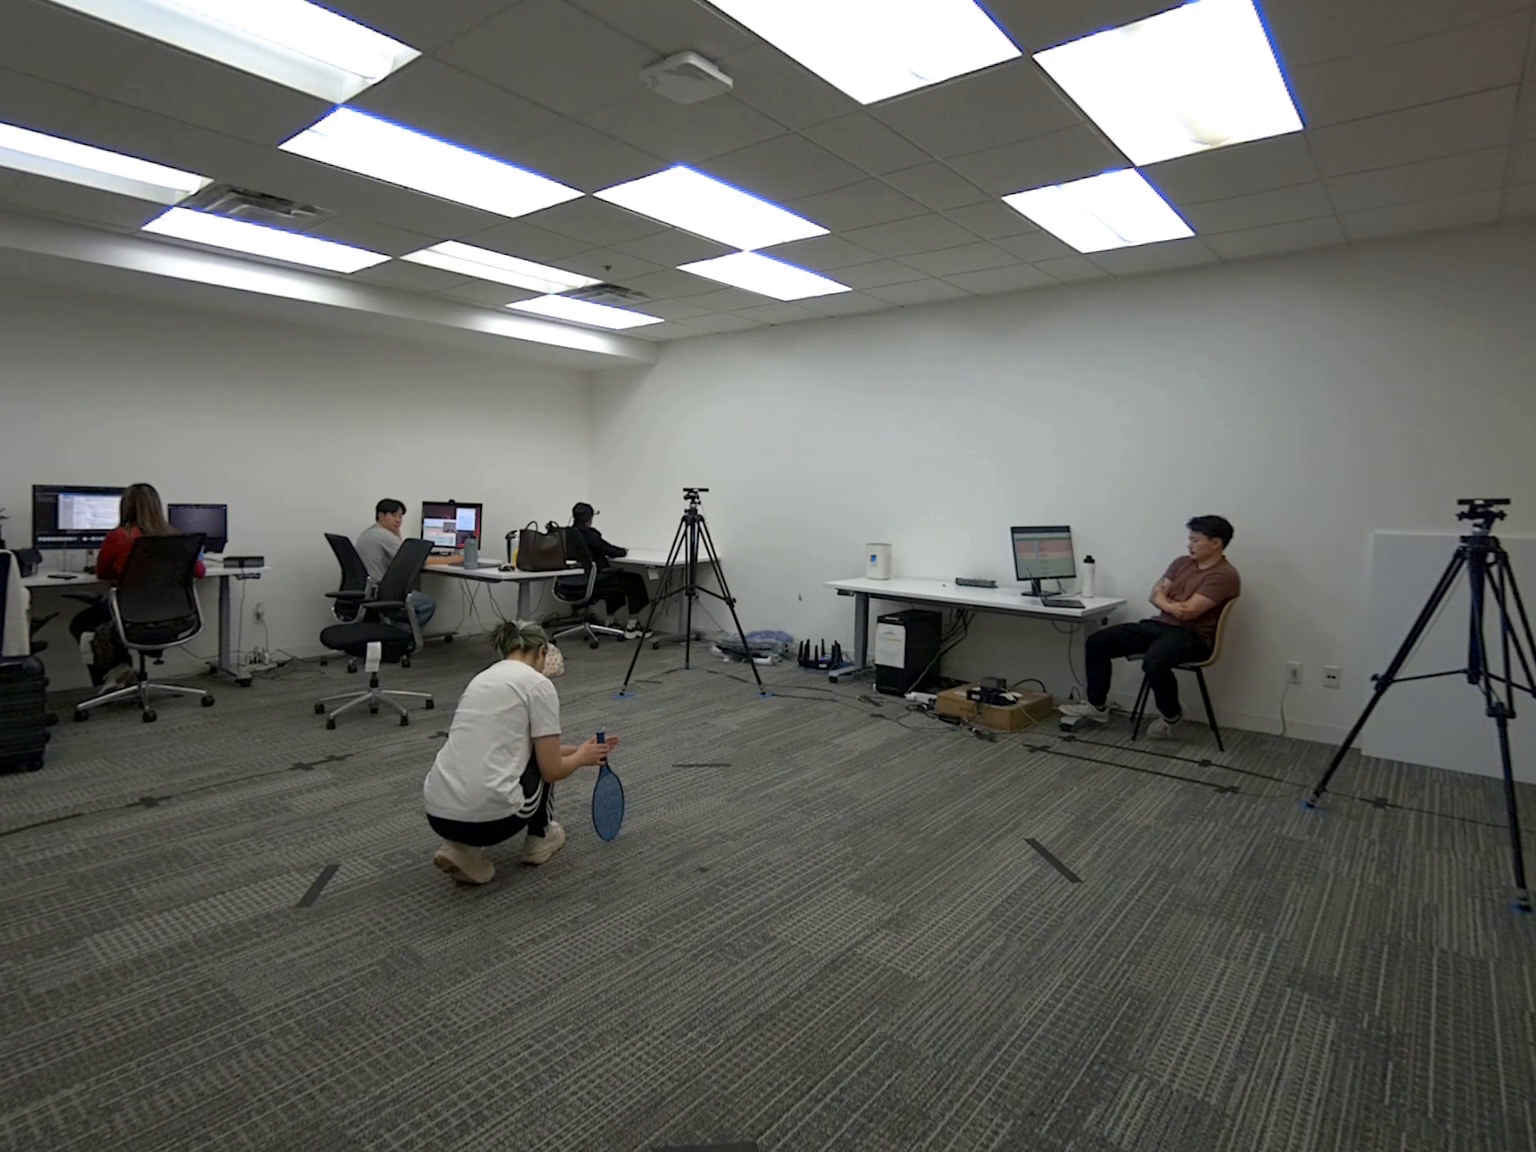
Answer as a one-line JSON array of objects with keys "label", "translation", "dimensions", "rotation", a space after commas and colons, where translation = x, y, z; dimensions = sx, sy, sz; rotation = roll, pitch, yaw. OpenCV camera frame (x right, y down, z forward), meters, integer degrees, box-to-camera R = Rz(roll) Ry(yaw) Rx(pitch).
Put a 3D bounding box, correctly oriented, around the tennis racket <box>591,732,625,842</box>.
[{"label": "tennis racket", "translation": [-0.653, 0.826, 3.352], "dimensions": [0.032, 0.430, 0.210], "rotation": [-3, 6, 23]}]
